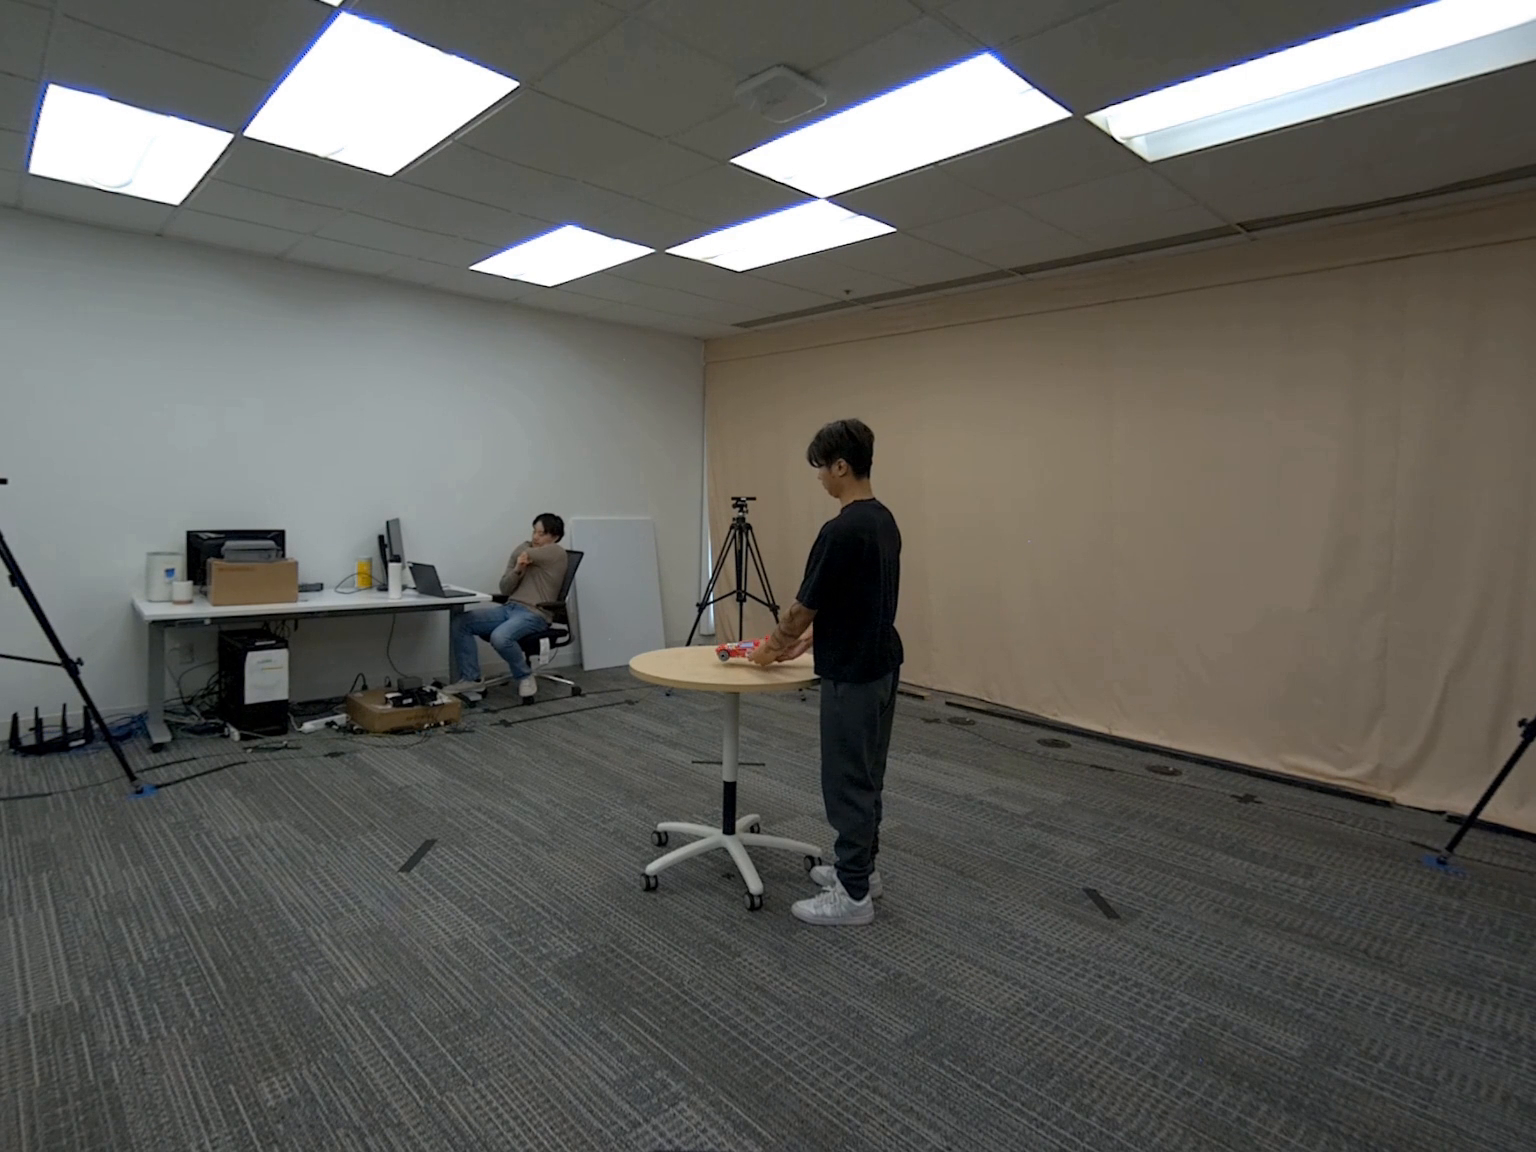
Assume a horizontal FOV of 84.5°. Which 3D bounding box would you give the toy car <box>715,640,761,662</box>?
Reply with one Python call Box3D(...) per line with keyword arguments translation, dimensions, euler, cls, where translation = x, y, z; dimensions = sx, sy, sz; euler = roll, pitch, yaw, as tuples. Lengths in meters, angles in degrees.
Box3D(translation=(-0.062, 0.270, 3.052), dimensions=(0.257, 0.083, 0.129), euler=(-11, 0, 13), cls="toy car")
